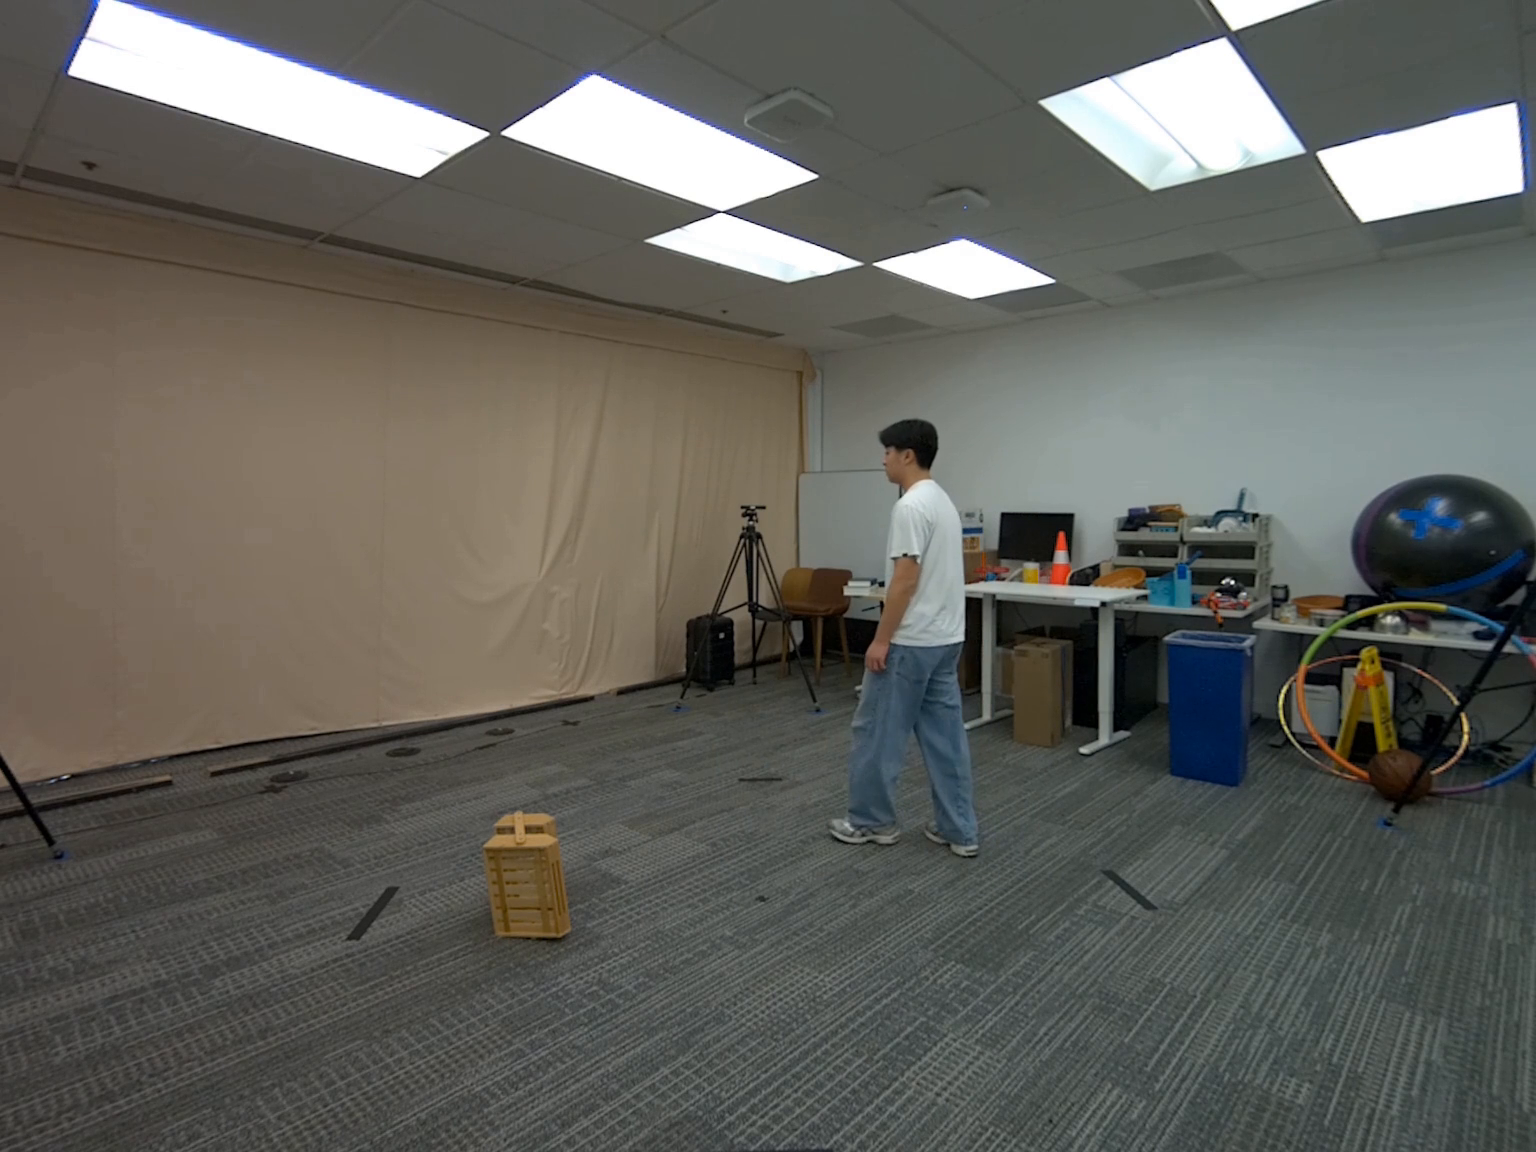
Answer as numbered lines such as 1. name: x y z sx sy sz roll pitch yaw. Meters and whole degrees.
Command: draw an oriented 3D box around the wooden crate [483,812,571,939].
1. wooden crate: -0.782 0.995 2.830 0.306 0.323 0.270 -5 5 13
